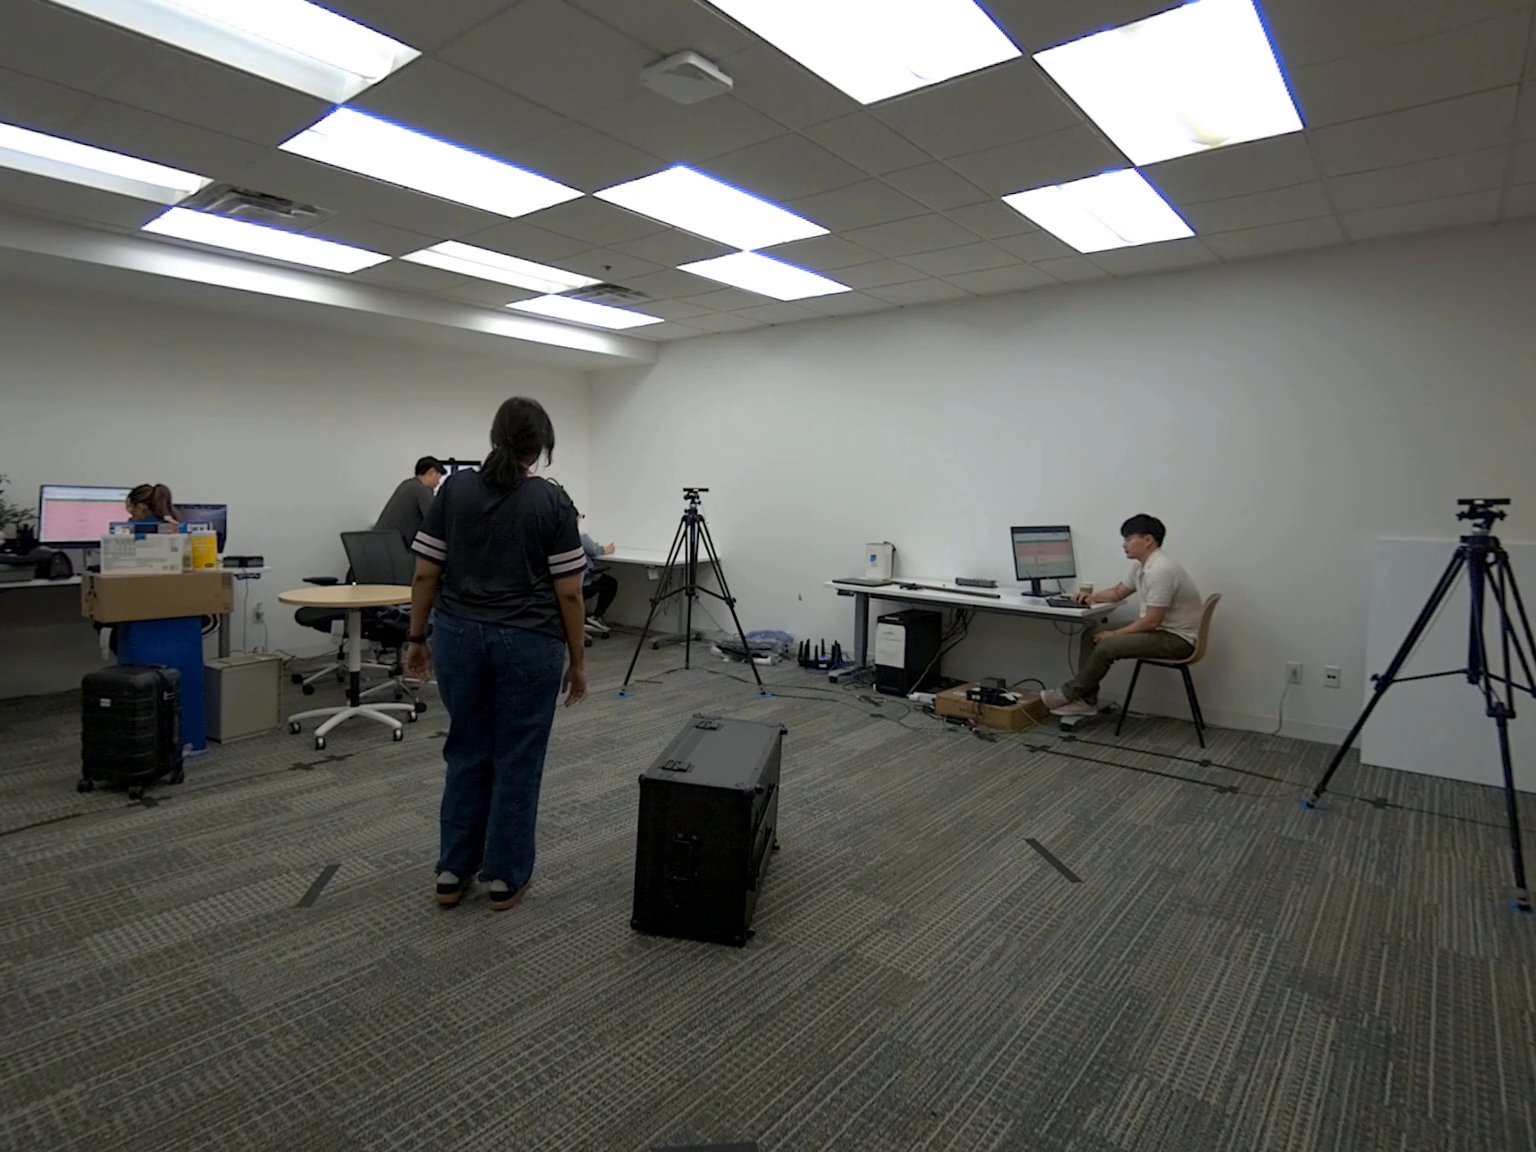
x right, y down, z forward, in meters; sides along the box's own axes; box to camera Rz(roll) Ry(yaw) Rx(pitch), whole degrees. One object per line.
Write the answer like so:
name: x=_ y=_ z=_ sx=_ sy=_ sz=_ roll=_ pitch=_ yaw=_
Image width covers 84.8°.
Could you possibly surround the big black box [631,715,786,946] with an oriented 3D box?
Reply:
big black box: x=-0.182 y=0.823 z=3.005 sx=0.389 sy=0.521 sz=0.862 roll=2 pitch=5 yaw=8
